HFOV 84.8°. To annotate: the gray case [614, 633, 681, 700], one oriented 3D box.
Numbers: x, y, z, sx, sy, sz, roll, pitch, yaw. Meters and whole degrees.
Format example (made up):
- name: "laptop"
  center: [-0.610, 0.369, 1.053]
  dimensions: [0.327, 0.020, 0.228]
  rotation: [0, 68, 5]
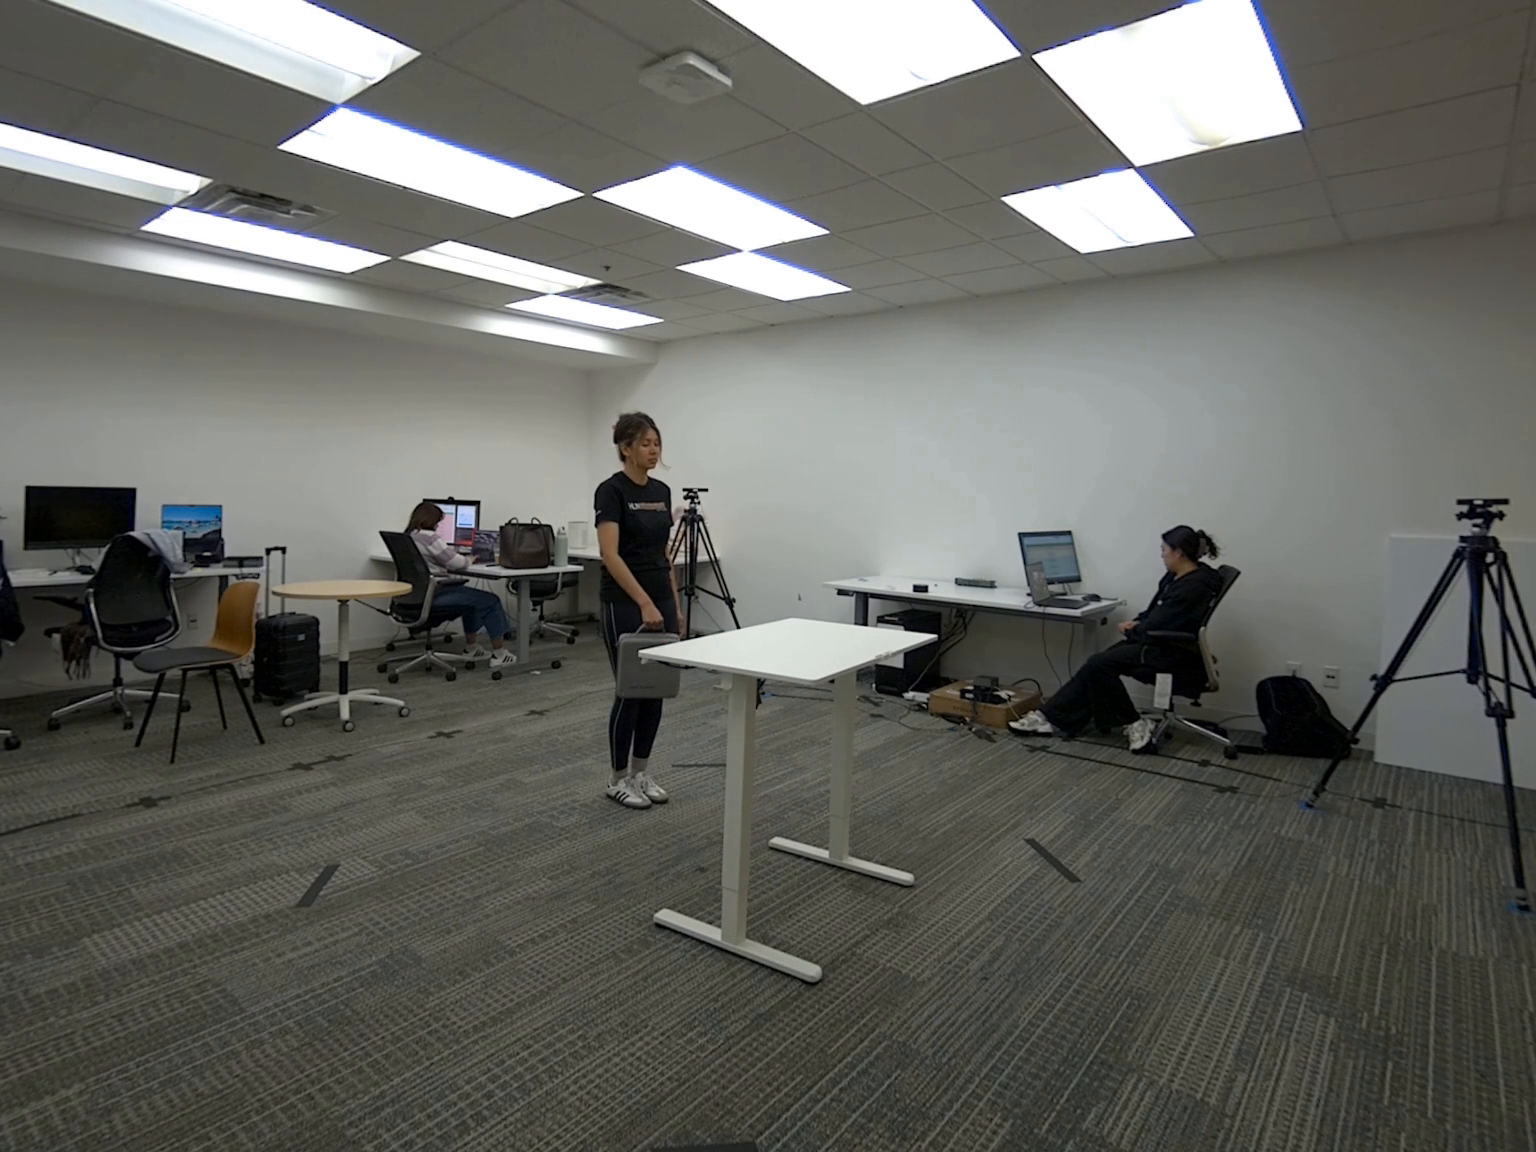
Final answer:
- name: "gray case"
  center: [-0.499, 0.351, 3.436]
  dimensions: [0.253, 0.258, 0.107]
  rotation: [4, 11, -13]
